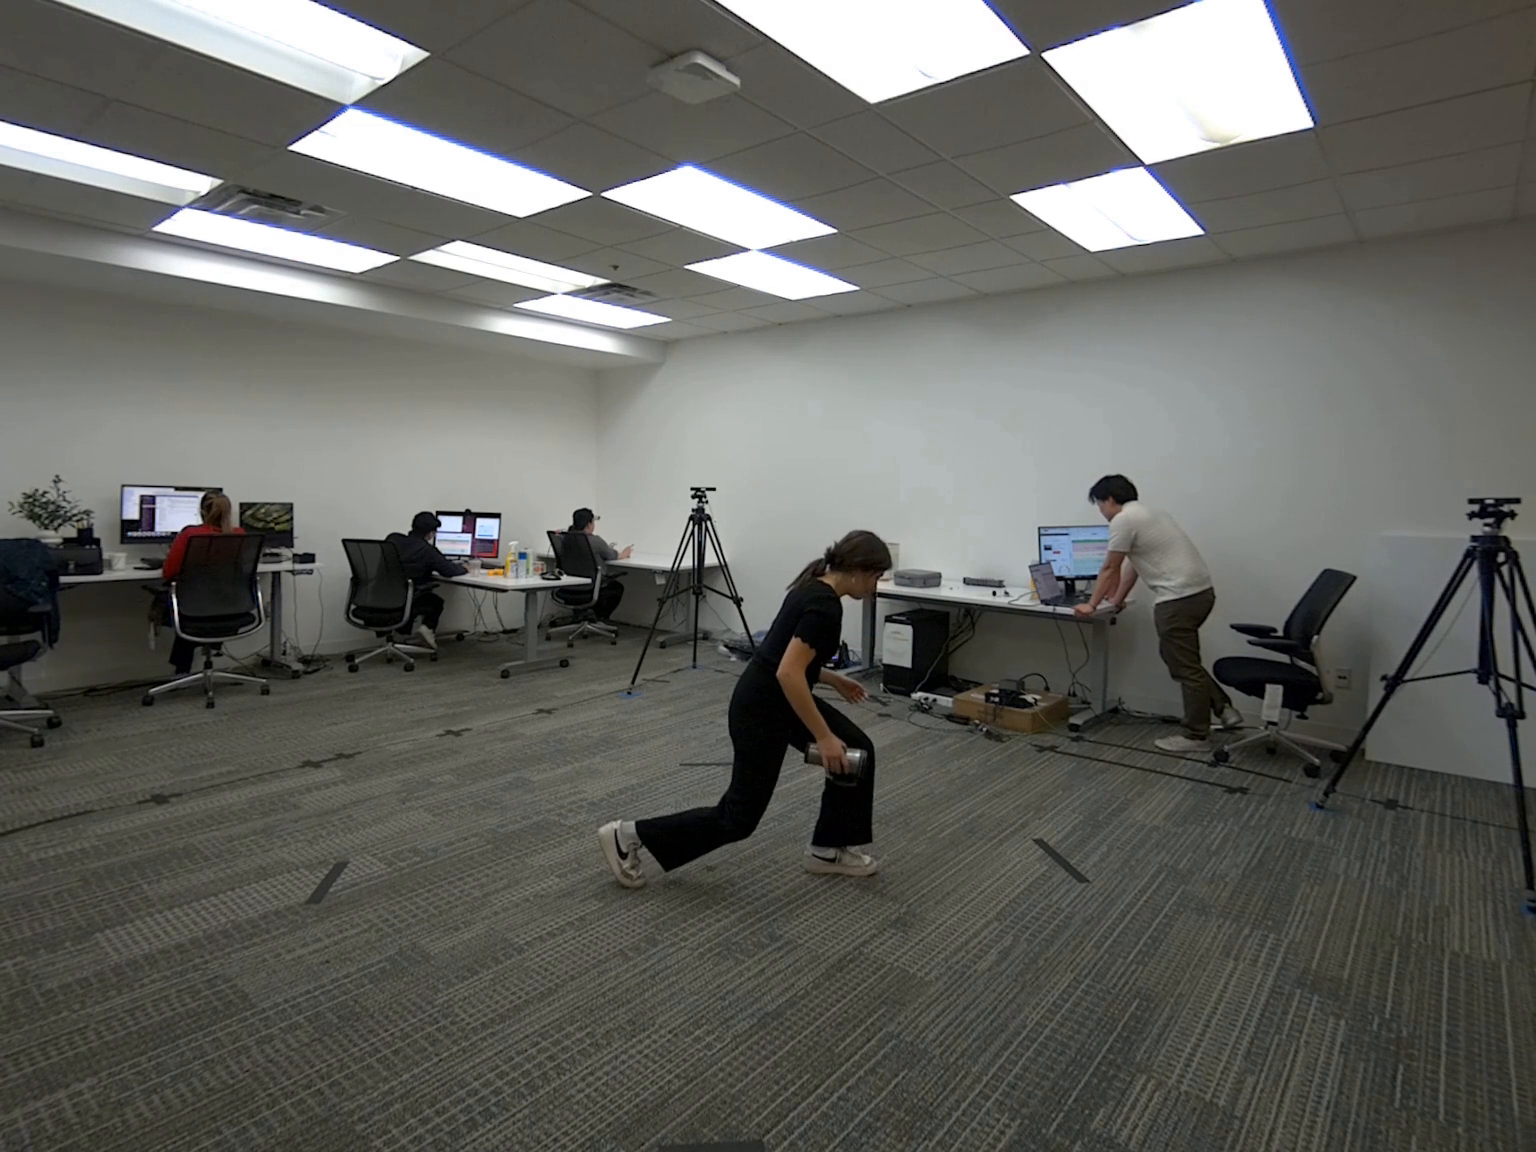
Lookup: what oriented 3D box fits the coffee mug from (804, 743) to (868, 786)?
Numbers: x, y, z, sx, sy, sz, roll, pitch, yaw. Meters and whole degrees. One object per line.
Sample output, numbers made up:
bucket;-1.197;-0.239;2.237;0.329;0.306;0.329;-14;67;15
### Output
coffee mug;0.217;0.626;2.842;0.204;0.120;0.088;5;15;5
